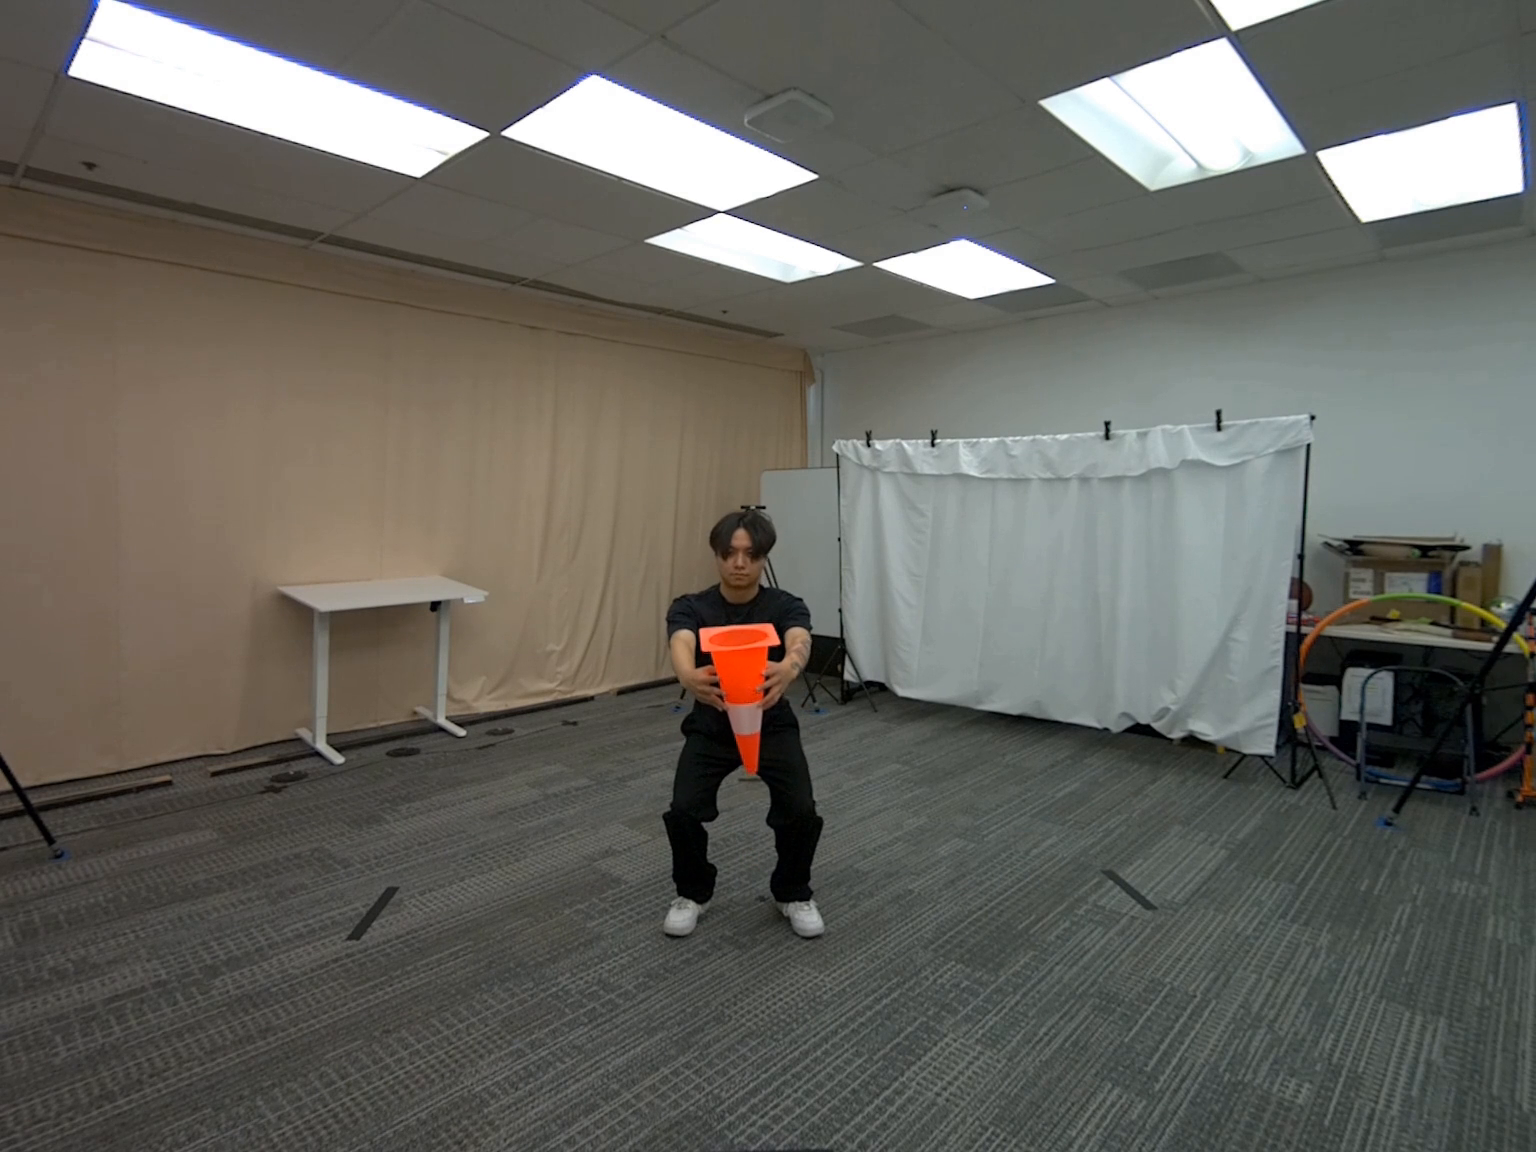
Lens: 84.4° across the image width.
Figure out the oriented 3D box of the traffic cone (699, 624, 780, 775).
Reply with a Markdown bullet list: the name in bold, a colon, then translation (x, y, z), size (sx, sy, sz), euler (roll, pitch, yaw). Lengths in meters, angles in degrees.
- **traffic cone**: translation (-0.068, 0.345, 2.219), size (0.202, 0.381, 0.208), euler (-6, 12, -17)
